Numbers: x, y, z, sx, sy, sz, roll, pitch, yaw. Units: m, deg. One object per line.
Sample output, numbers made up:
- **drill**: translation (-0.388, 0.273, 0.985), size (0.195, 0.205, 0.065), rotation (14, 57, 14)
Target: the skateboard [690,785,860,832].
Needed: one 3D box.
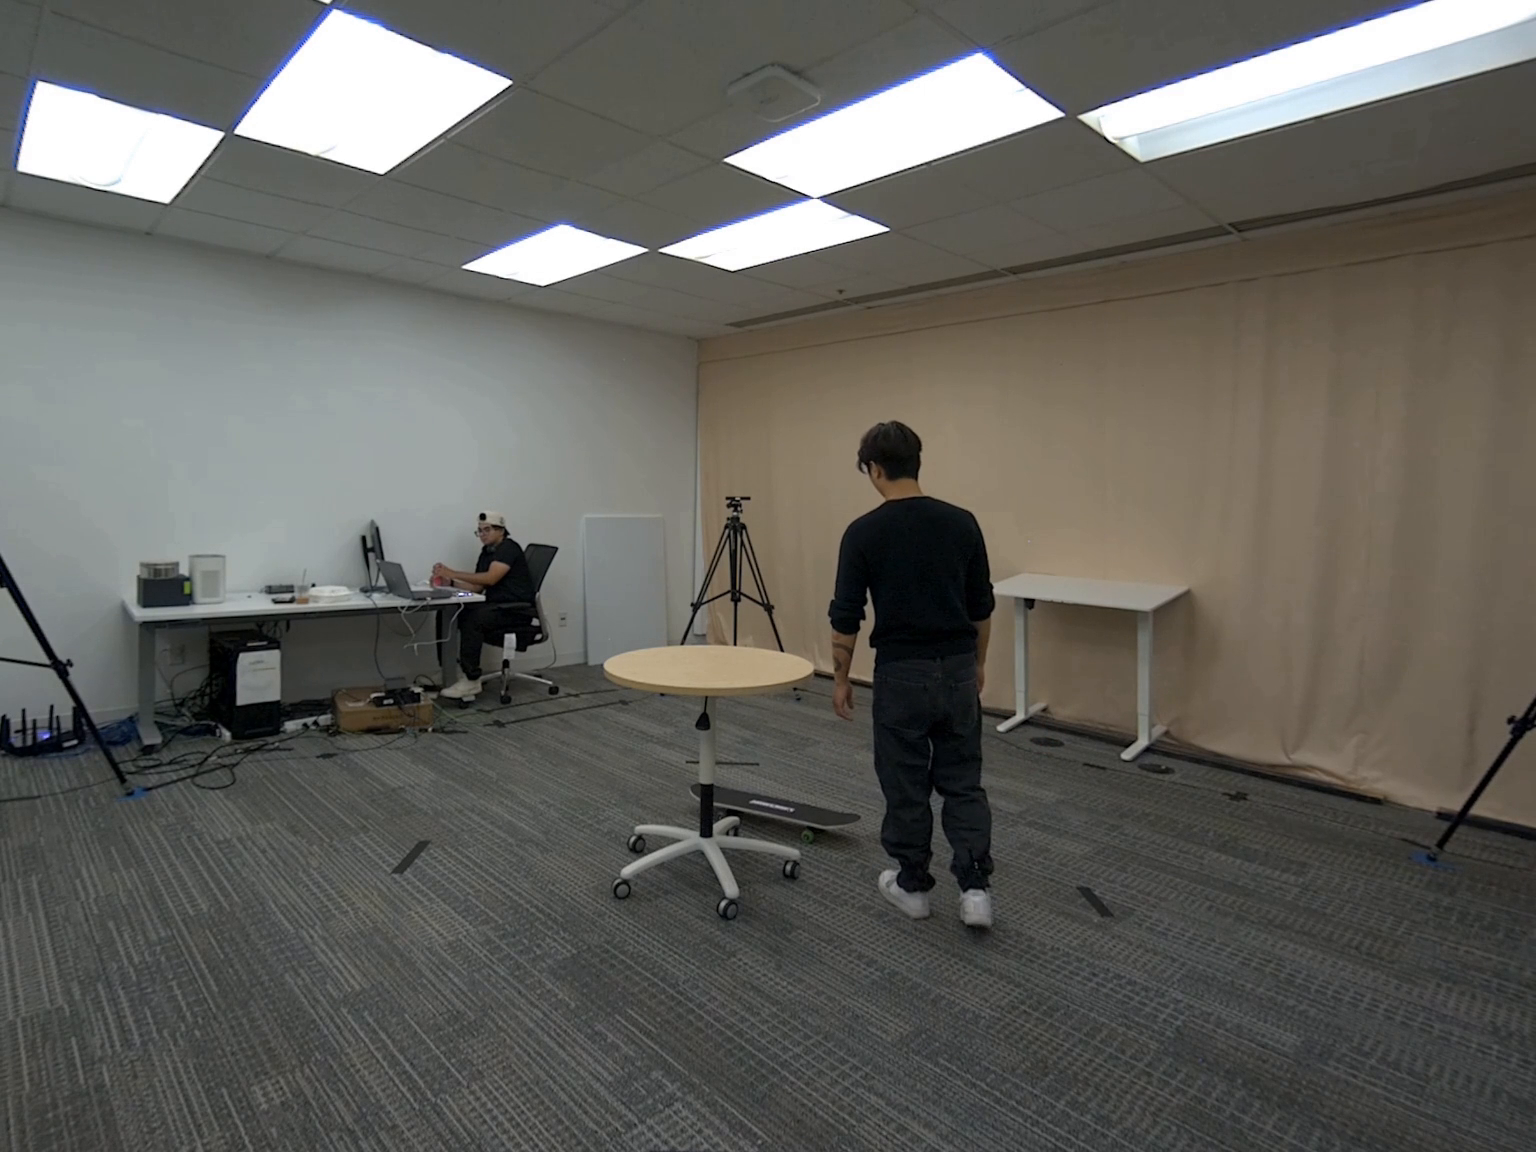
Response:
- **skateboard**: translation (0.012, 1.005, 3.589), size (0.802, 0.110, 0.190), rotation (4, 5, 29)
